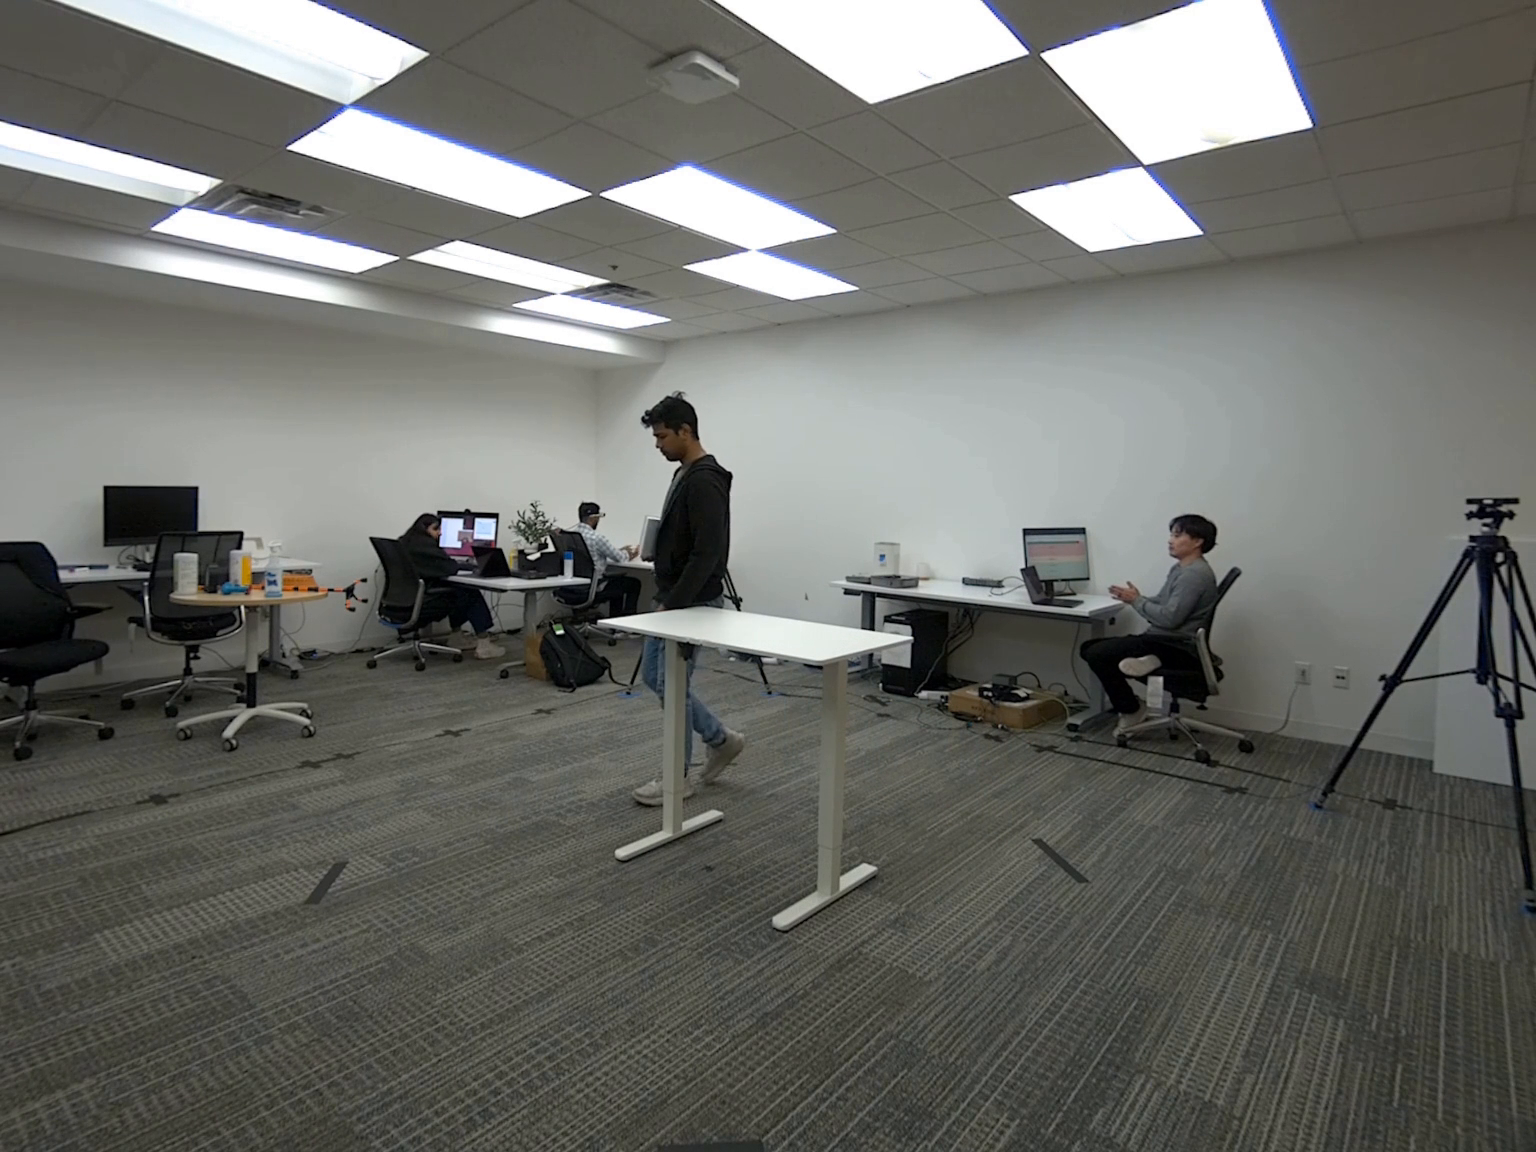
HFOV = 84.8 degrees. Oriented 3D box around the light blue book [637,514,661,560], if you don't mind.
[{"bbox_3d":[-0.455,-0.167,3.880,0.256,0.190,0.061,9,13,-17],"label":"light blue book"}]
